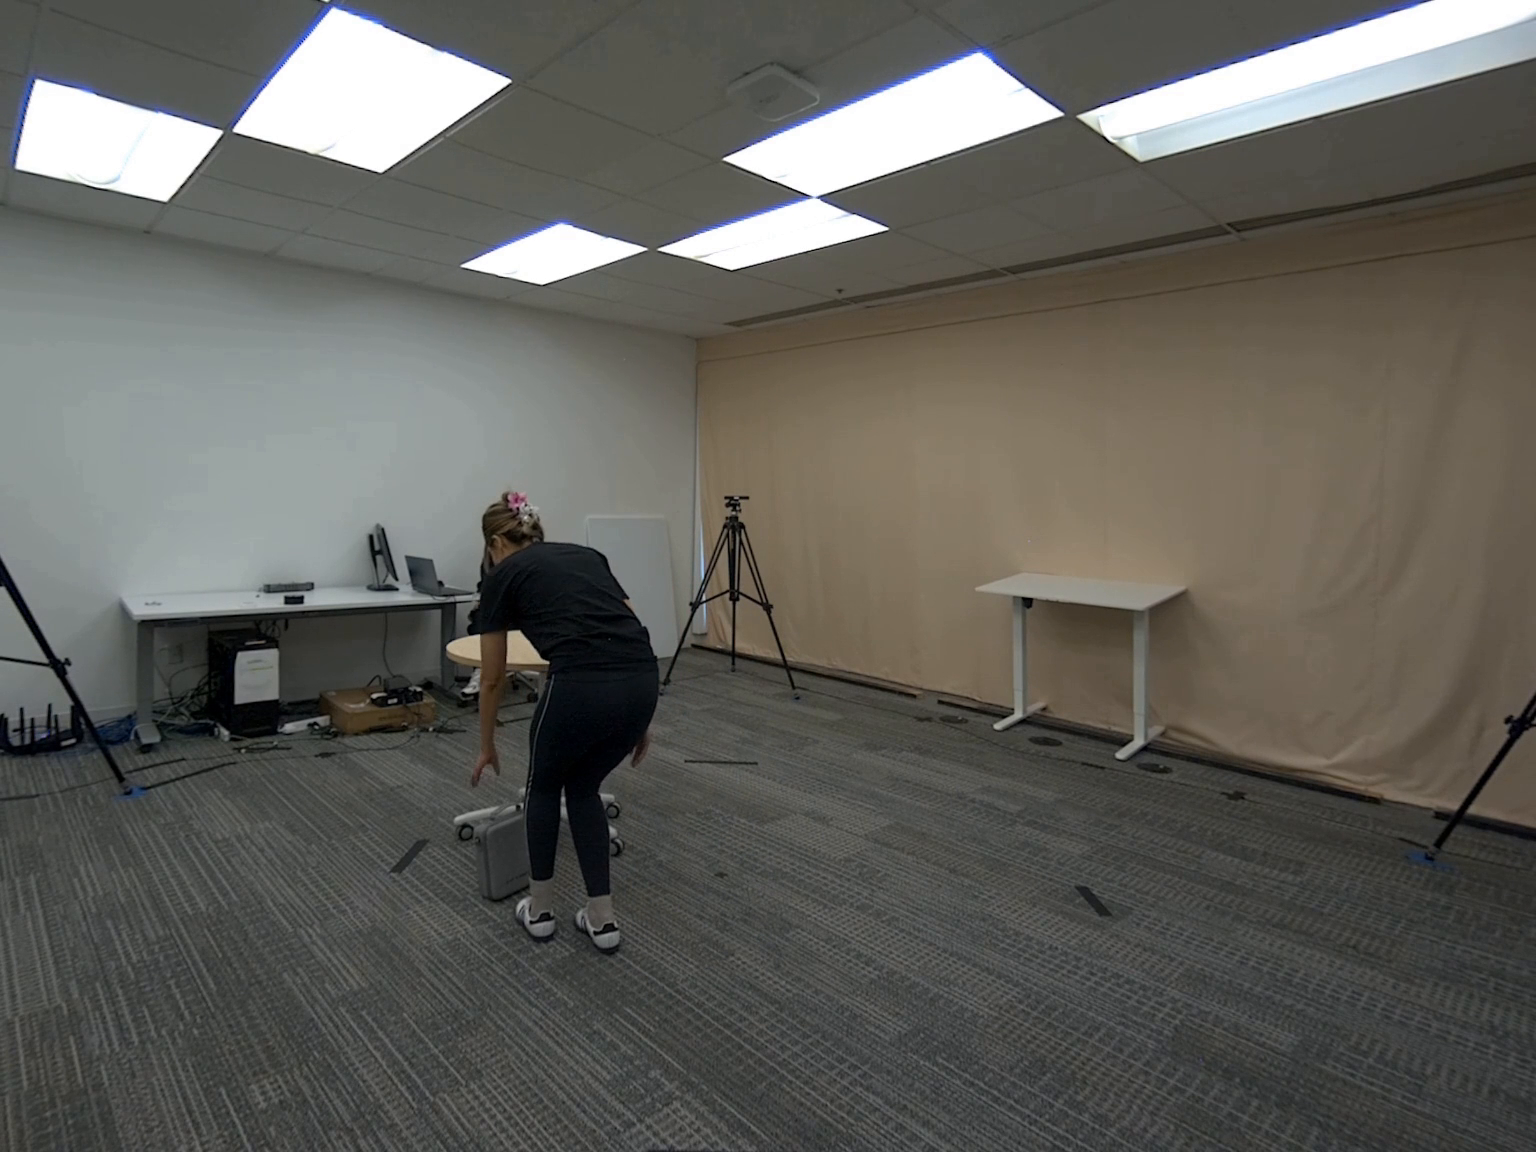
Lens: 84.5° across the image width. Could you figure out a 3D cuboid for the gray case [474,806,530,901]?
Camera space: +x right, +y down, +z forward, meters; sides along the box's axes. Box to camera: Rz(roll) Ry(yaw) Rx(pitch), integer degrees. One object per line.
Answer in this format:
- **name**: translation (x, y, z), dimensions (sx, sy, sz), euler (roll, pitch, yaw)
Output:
- **gray case**: translation (-0.899, 0.967, 2.954), dimensions (0.106, 0.261, 0.251), euler (-5, 0, 40)
